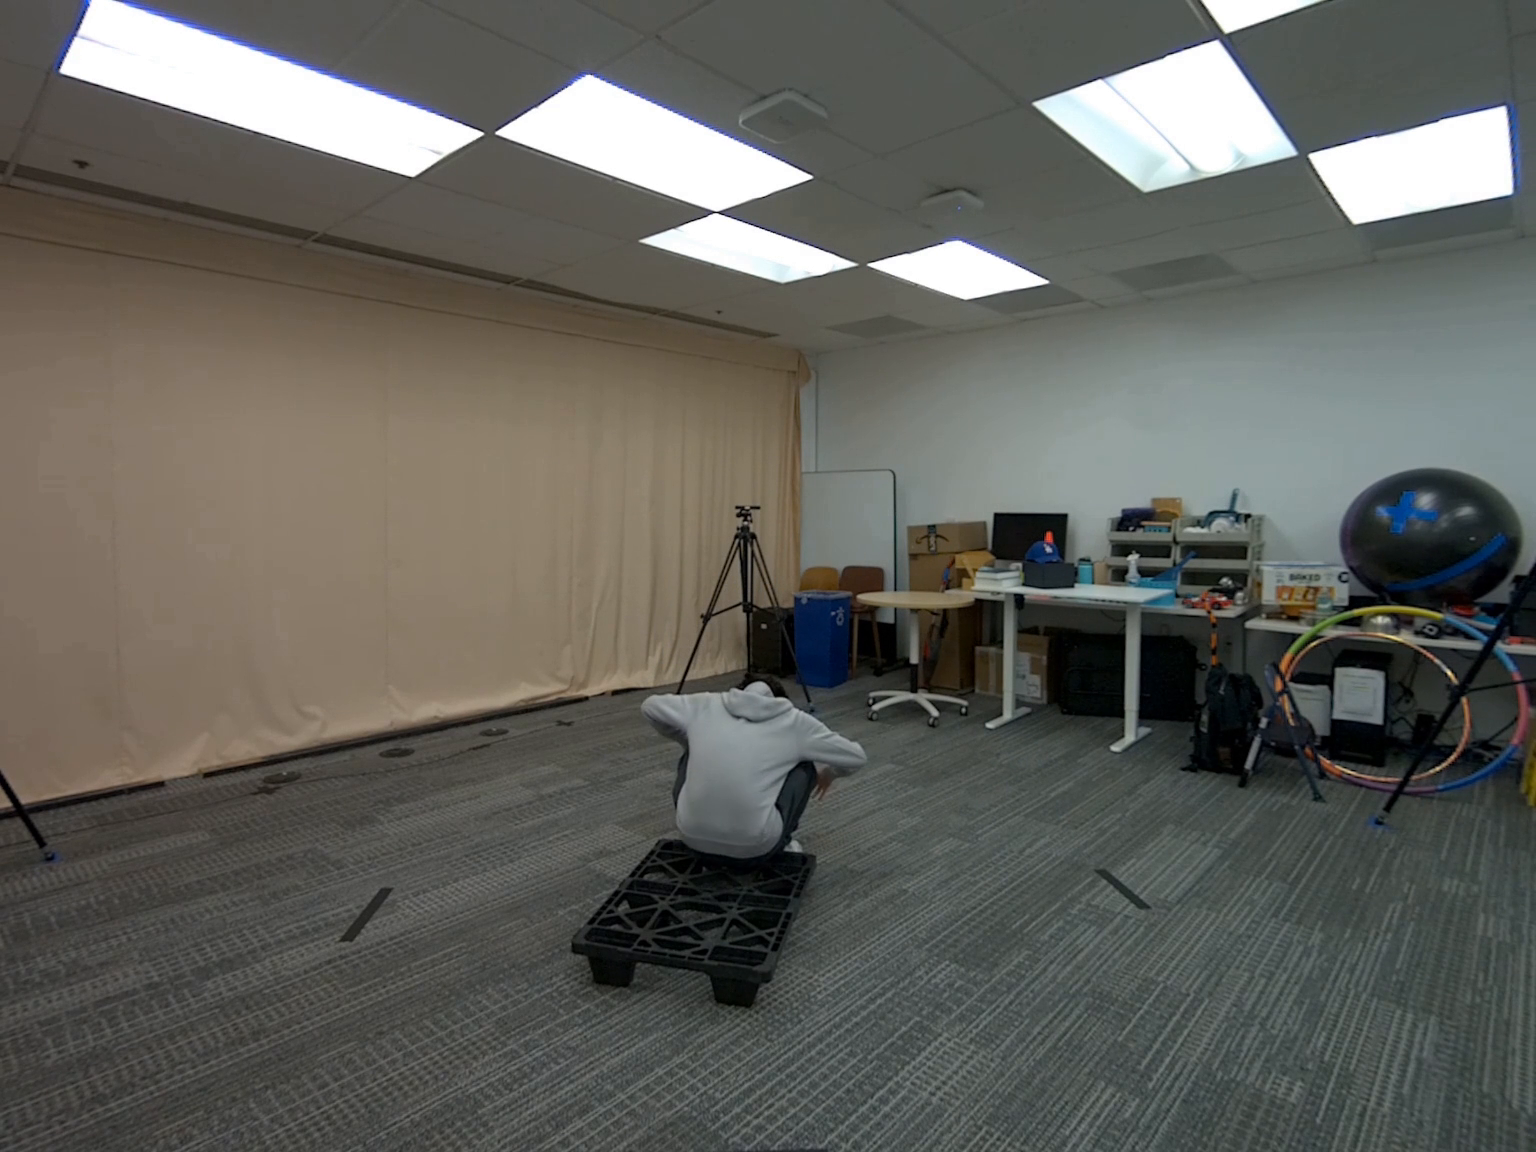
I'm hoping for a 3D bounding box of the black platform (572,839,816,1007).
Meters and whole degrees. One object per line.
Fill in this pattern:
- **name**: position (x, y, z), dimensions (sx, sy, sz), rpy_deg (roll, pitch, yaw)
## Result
- **black platform**: position (-0.199, 1.093, 2.746), dimensions (0.615, 0.143, 0.795), rpy_deg (1, 5, 13)
